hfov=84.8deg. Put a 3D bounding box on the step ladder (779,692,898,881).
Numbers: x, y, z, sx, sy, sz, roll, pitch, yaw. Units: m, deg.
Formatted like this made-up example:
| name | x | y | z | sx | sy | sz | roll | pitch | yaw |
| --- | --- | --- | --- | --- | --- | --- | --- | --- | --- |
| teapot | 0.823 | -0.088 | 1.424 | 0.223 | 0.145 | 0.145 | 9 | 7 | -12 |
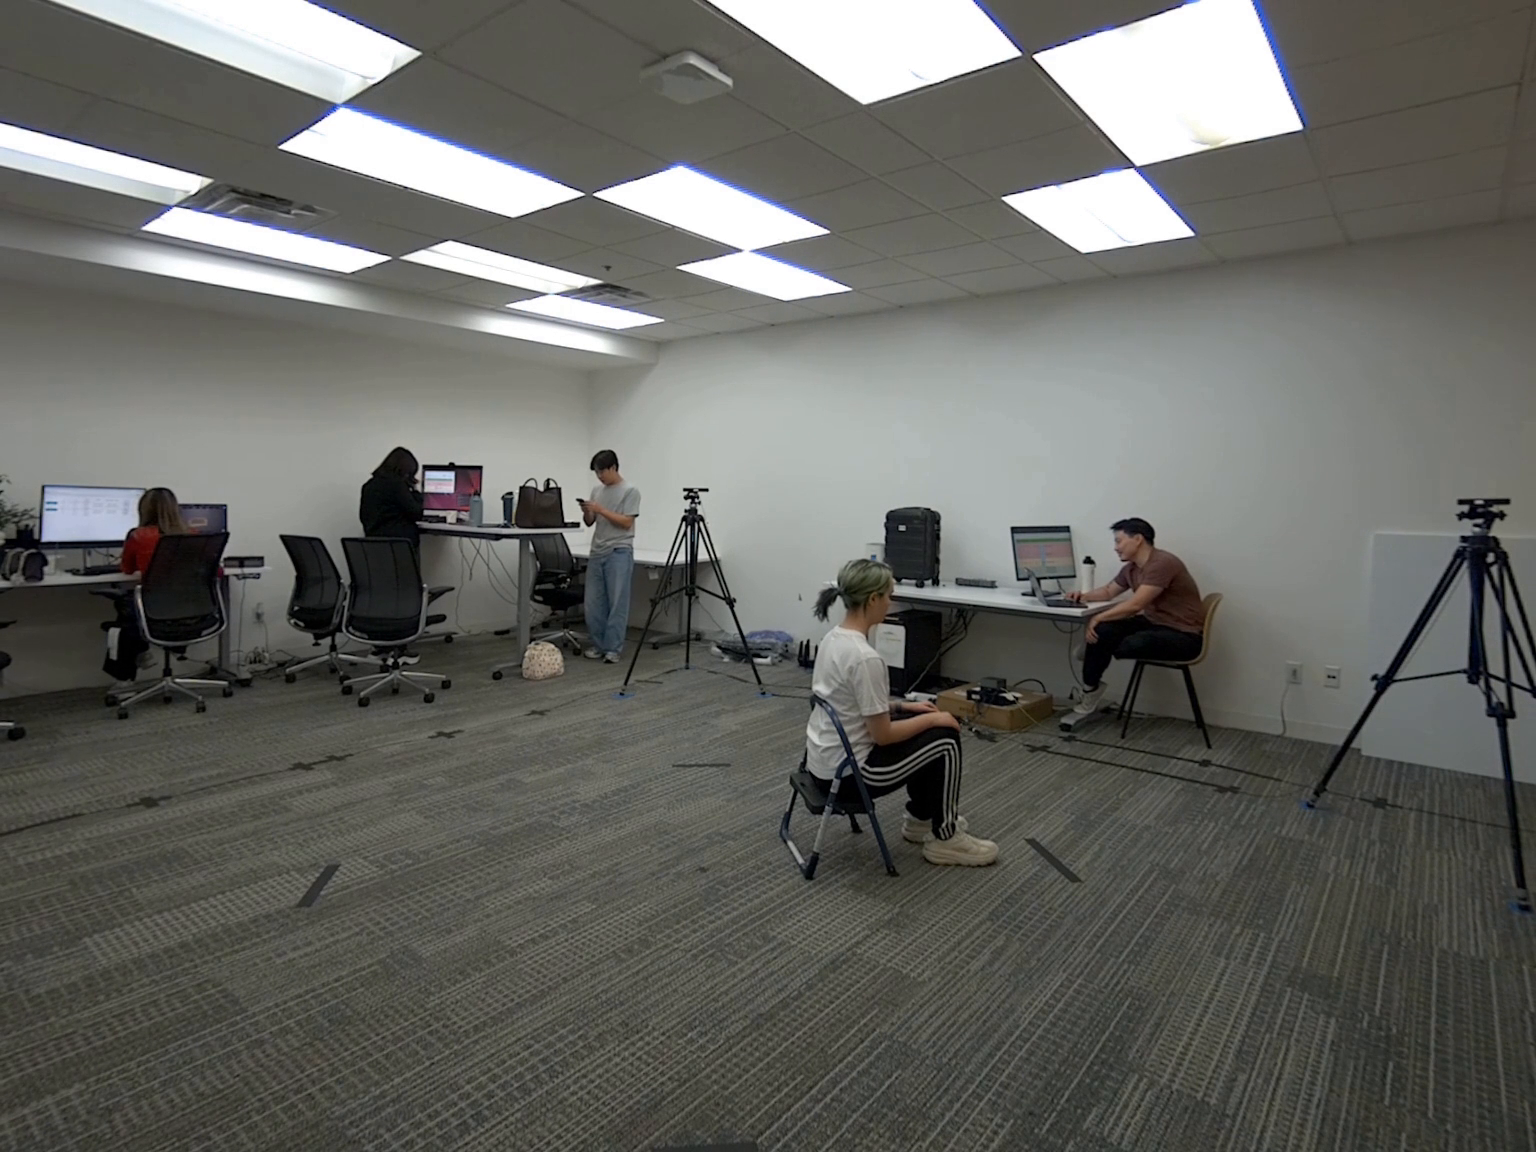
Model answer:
| name | x | y | z | sx | sy | sz | roll | pitch | yaw |
| --- | --- | --- | --- | --- | --- | --- | --- | --- | --- |
| step ladder | 0.257 | 0.770 | 3.258 | 0.345 | 0.604 | 0.437 | 2 | 4 | -13 |
